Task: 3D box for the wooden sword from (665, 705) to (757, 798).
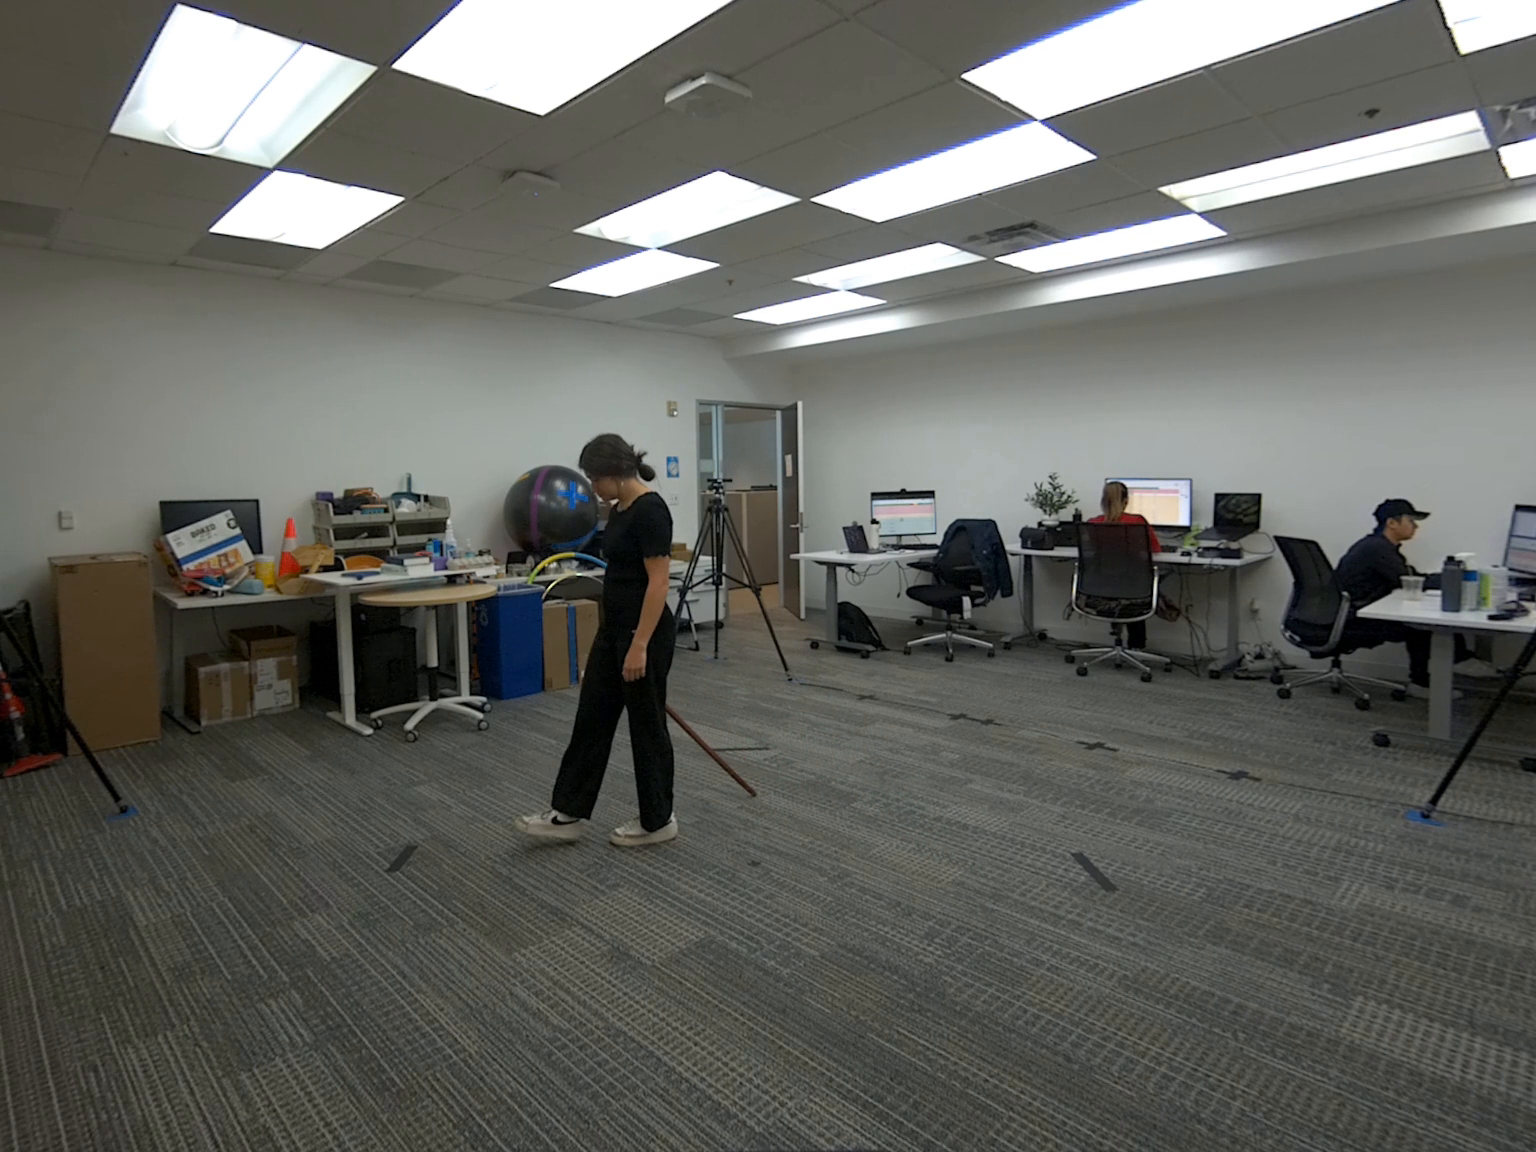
[{"bbox_3d":[-0.369,0.615,3.620,0.024,1.003,0.052,-48,17,-20],"label":"wooden sword"}]
